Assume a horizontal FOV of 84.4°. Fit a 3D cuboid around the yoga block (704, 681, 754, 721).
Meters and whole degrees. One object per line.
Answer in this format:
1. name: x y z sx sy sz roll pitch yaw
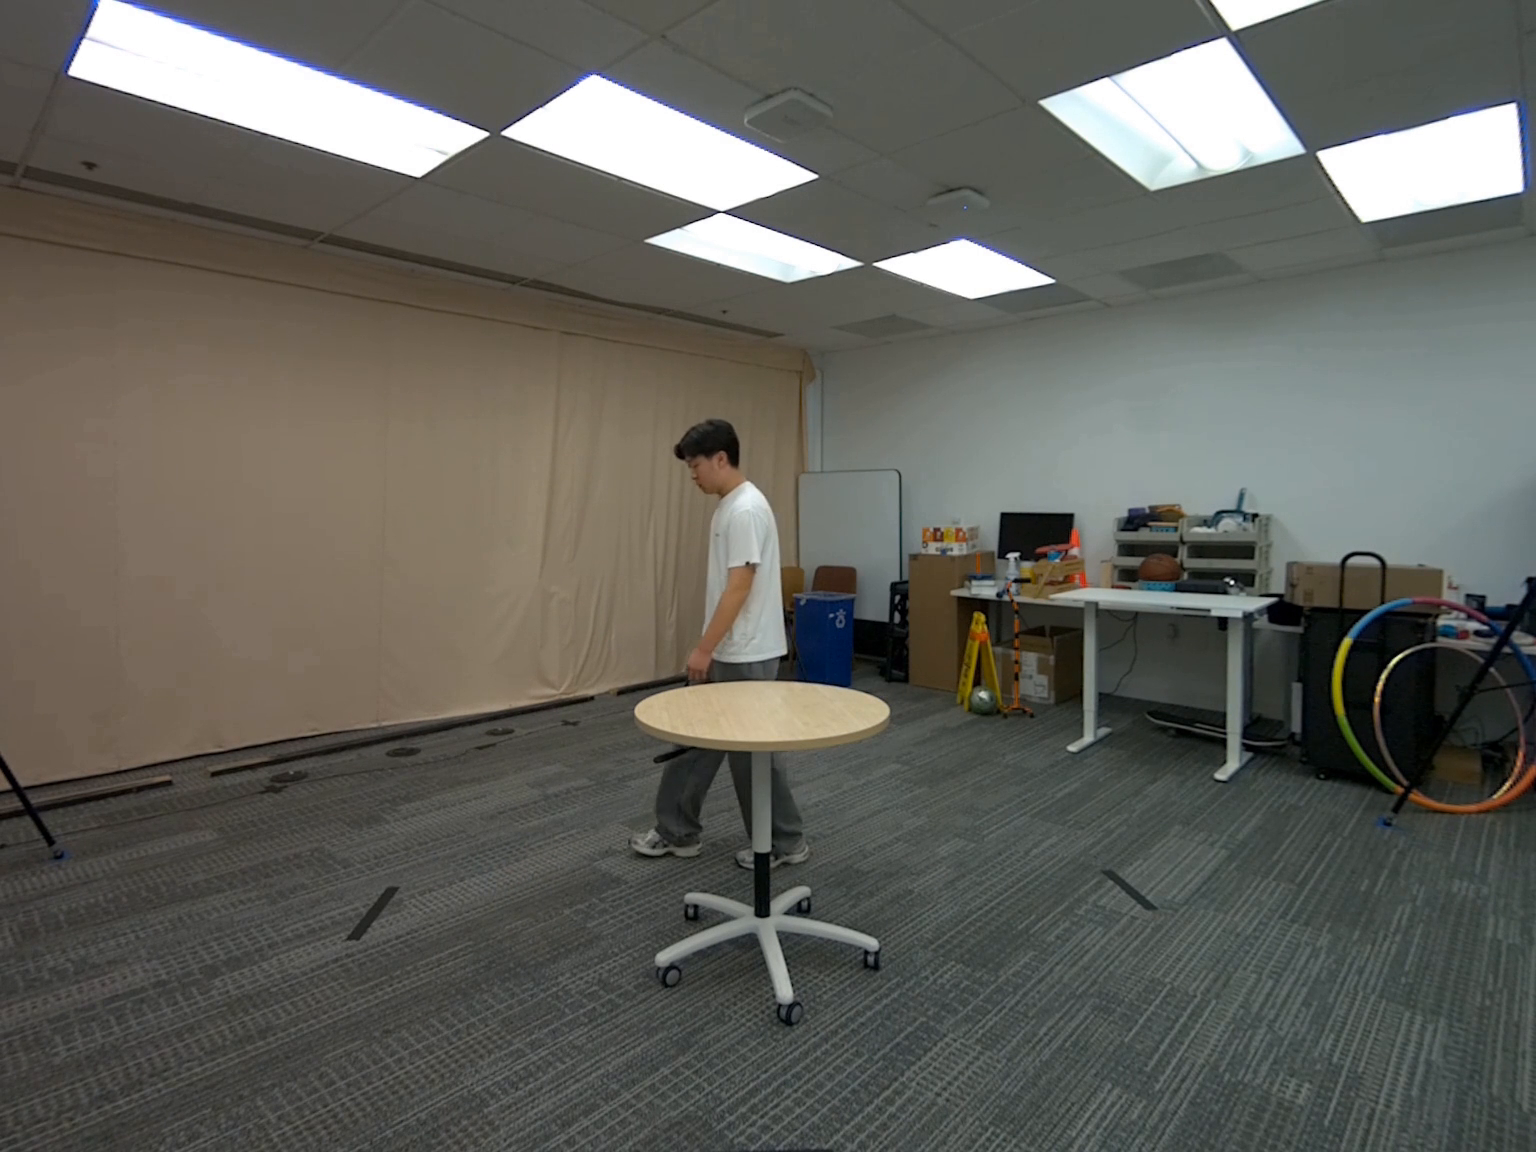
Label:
1. yoga block: -0.177 0.457 3.515 0.147 0.229 0.077 -19 2 -17
